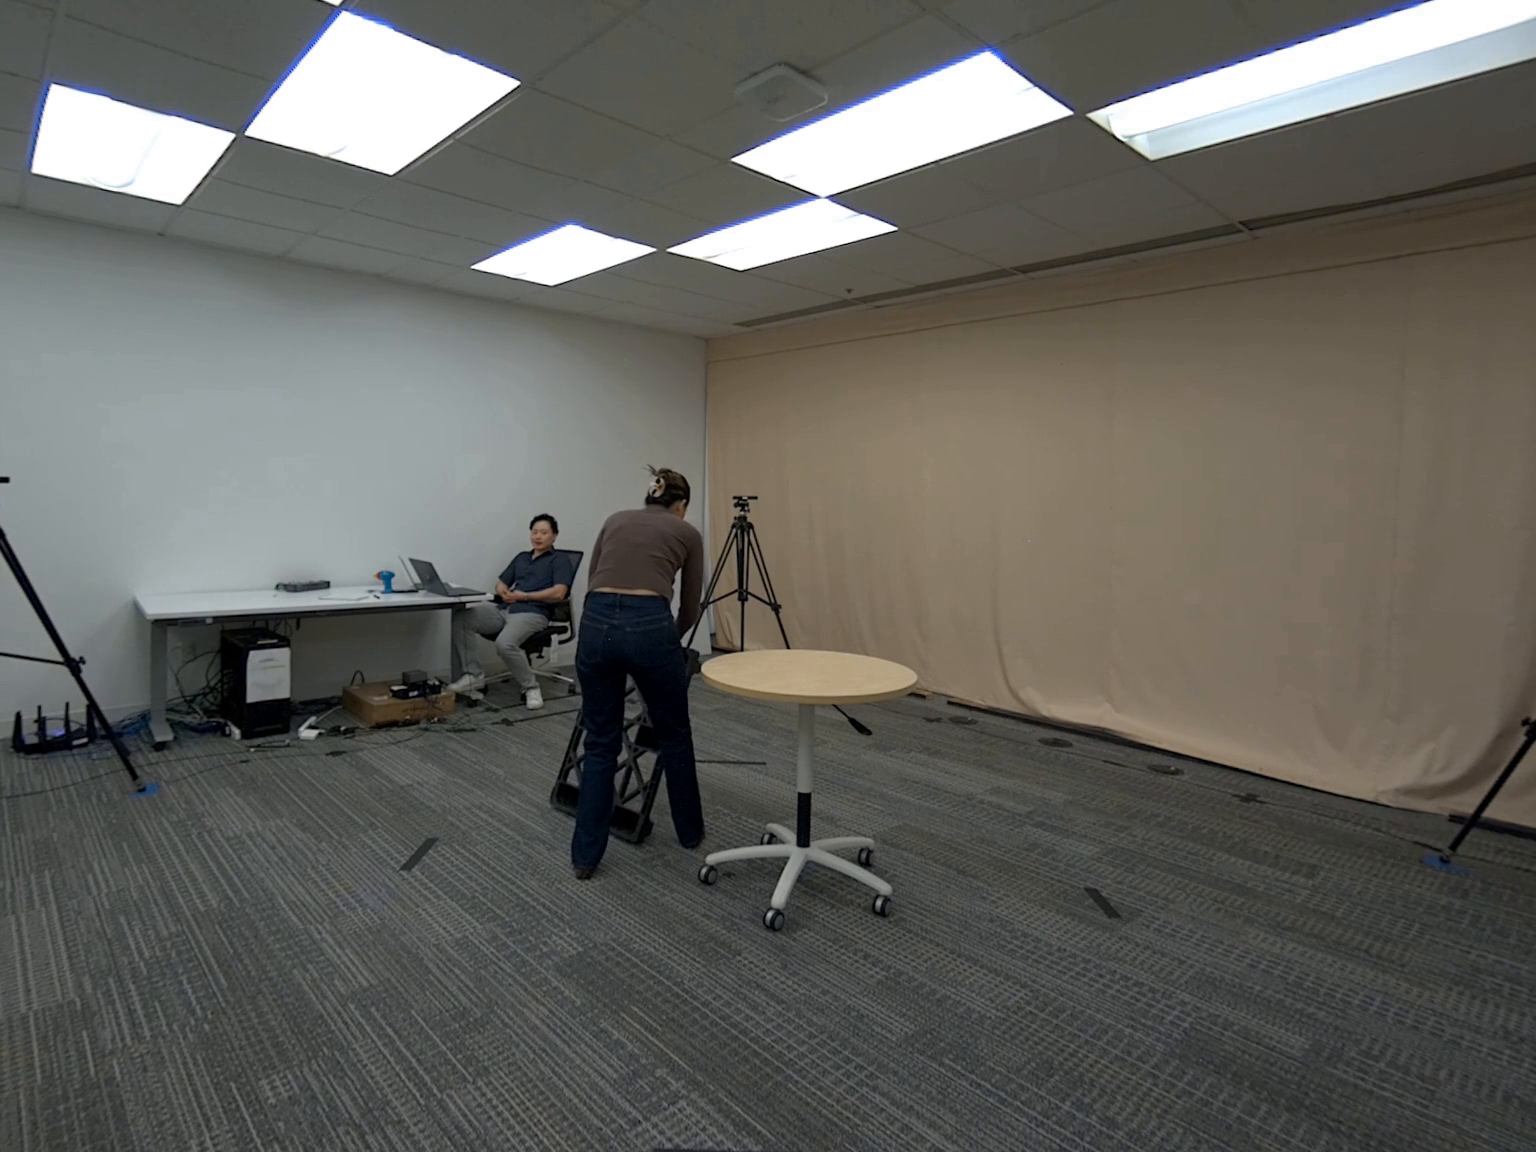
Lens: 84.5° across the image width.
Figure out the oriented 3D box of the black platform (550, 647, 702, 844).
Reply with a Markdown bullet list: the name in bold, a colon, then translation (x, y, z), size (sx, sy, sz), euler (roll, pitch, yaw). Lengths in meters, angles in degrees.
- **black platform**: translation (-0.607, 0.674, 3.657), size (0.620, 0.811, 0.139), euler (4, -18, 42)
